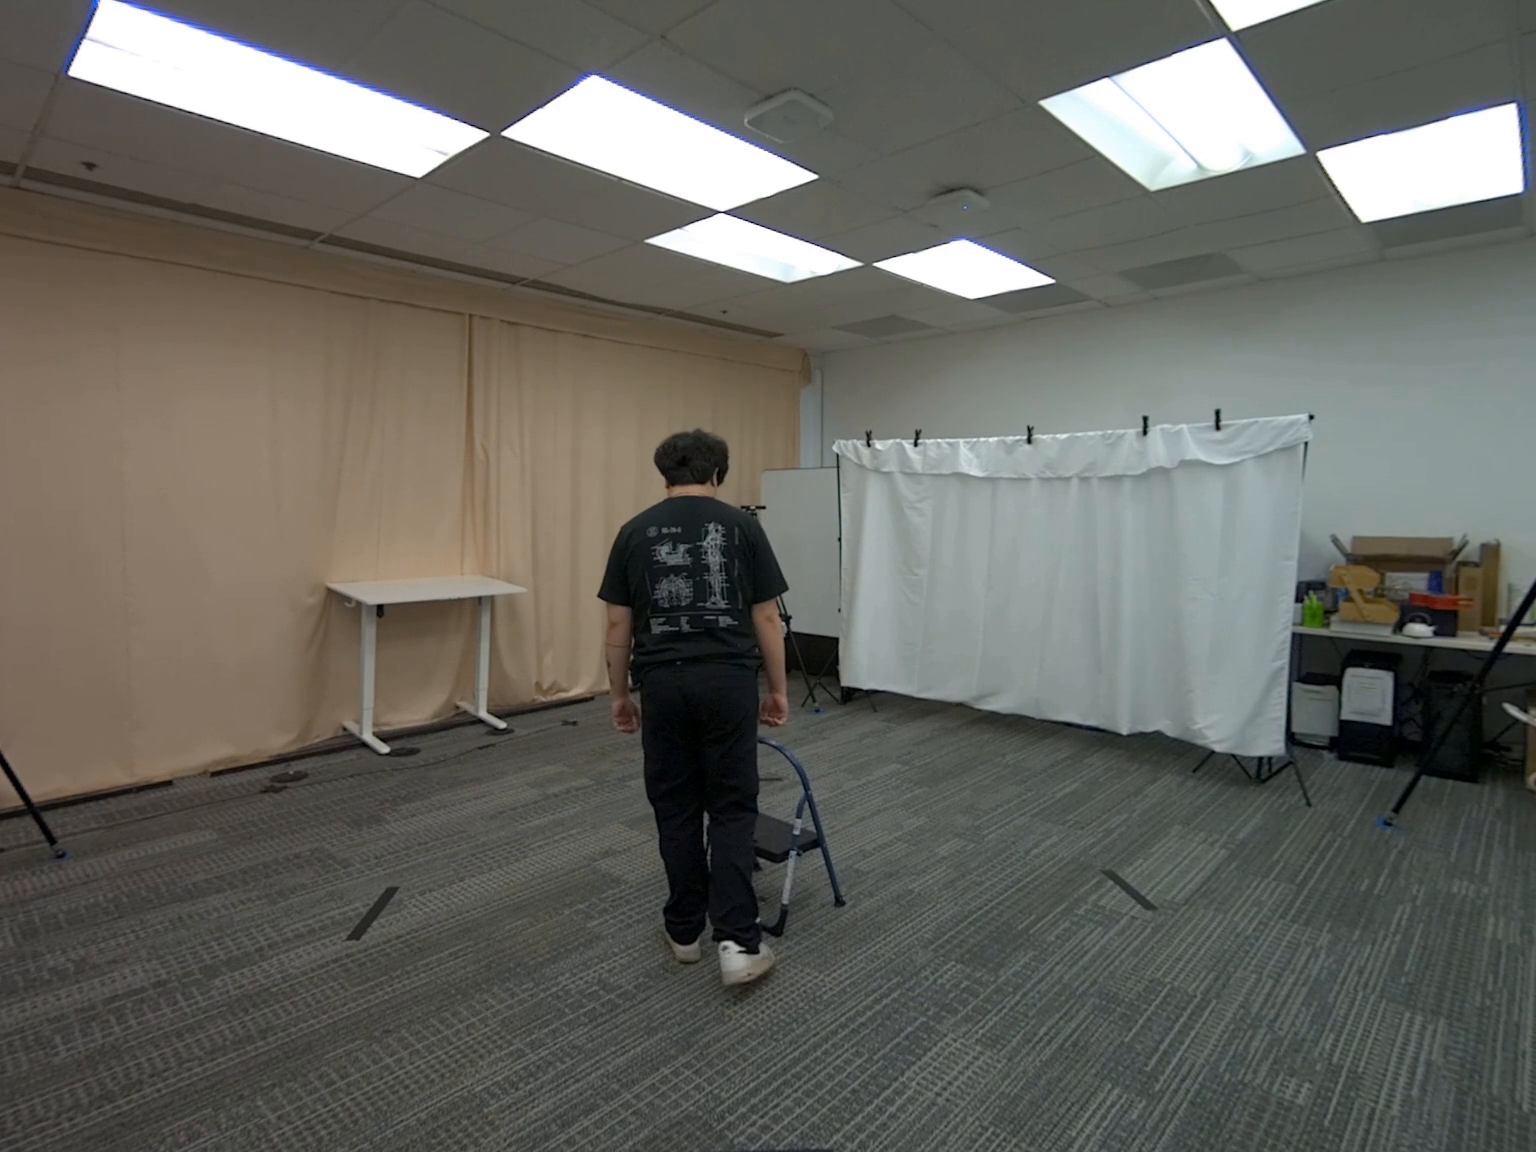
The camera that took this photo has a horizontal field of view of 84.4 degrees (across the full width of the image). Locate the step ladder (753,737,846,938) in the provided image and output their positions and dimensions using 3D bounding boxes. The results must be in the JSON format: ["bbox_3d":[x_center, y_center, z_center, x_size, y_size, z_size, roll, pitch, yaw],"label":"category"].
[{"bbox_3d":[0.005,0.842,2.960,0.445,0.605,0.338,3,4,44],"label":"step ladder"}]
